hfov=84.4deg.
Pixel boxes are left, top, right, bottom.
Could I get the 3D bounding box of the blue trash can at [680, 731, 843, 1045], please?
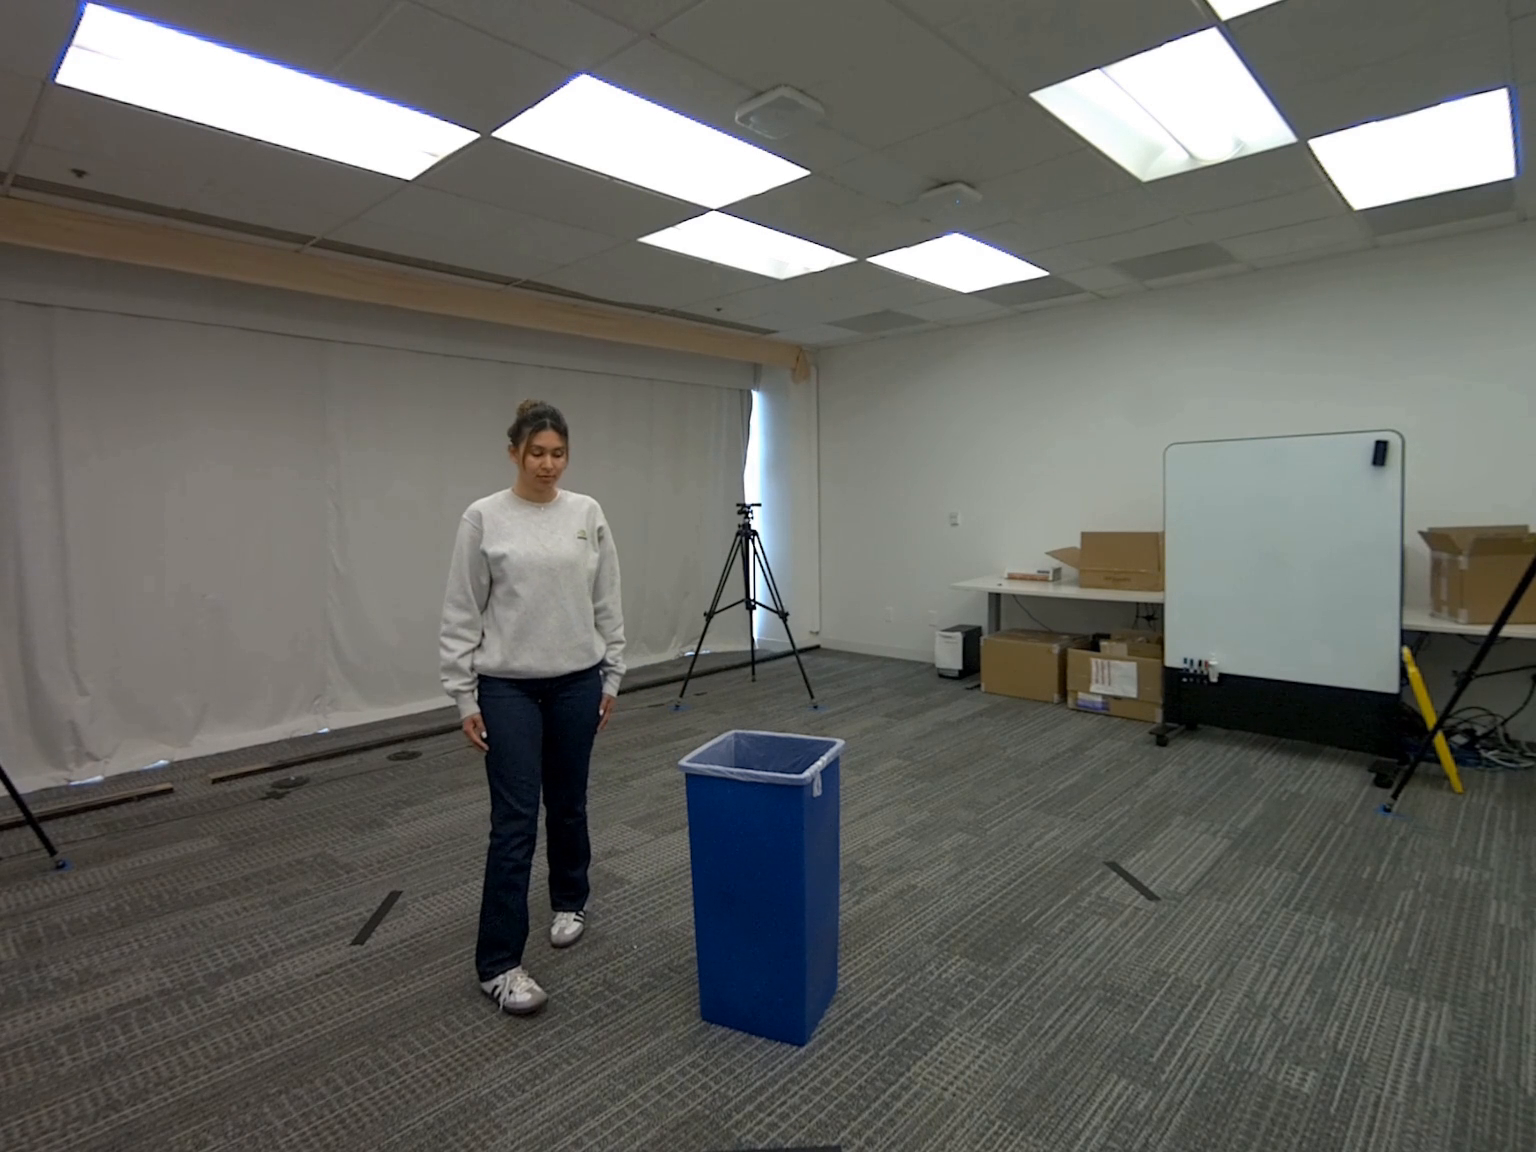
[{"bbox_3d":[-0.002,0.836,2.327,0.383,0.712,0.370,0,3,23],"label":"blue trash can"}]
